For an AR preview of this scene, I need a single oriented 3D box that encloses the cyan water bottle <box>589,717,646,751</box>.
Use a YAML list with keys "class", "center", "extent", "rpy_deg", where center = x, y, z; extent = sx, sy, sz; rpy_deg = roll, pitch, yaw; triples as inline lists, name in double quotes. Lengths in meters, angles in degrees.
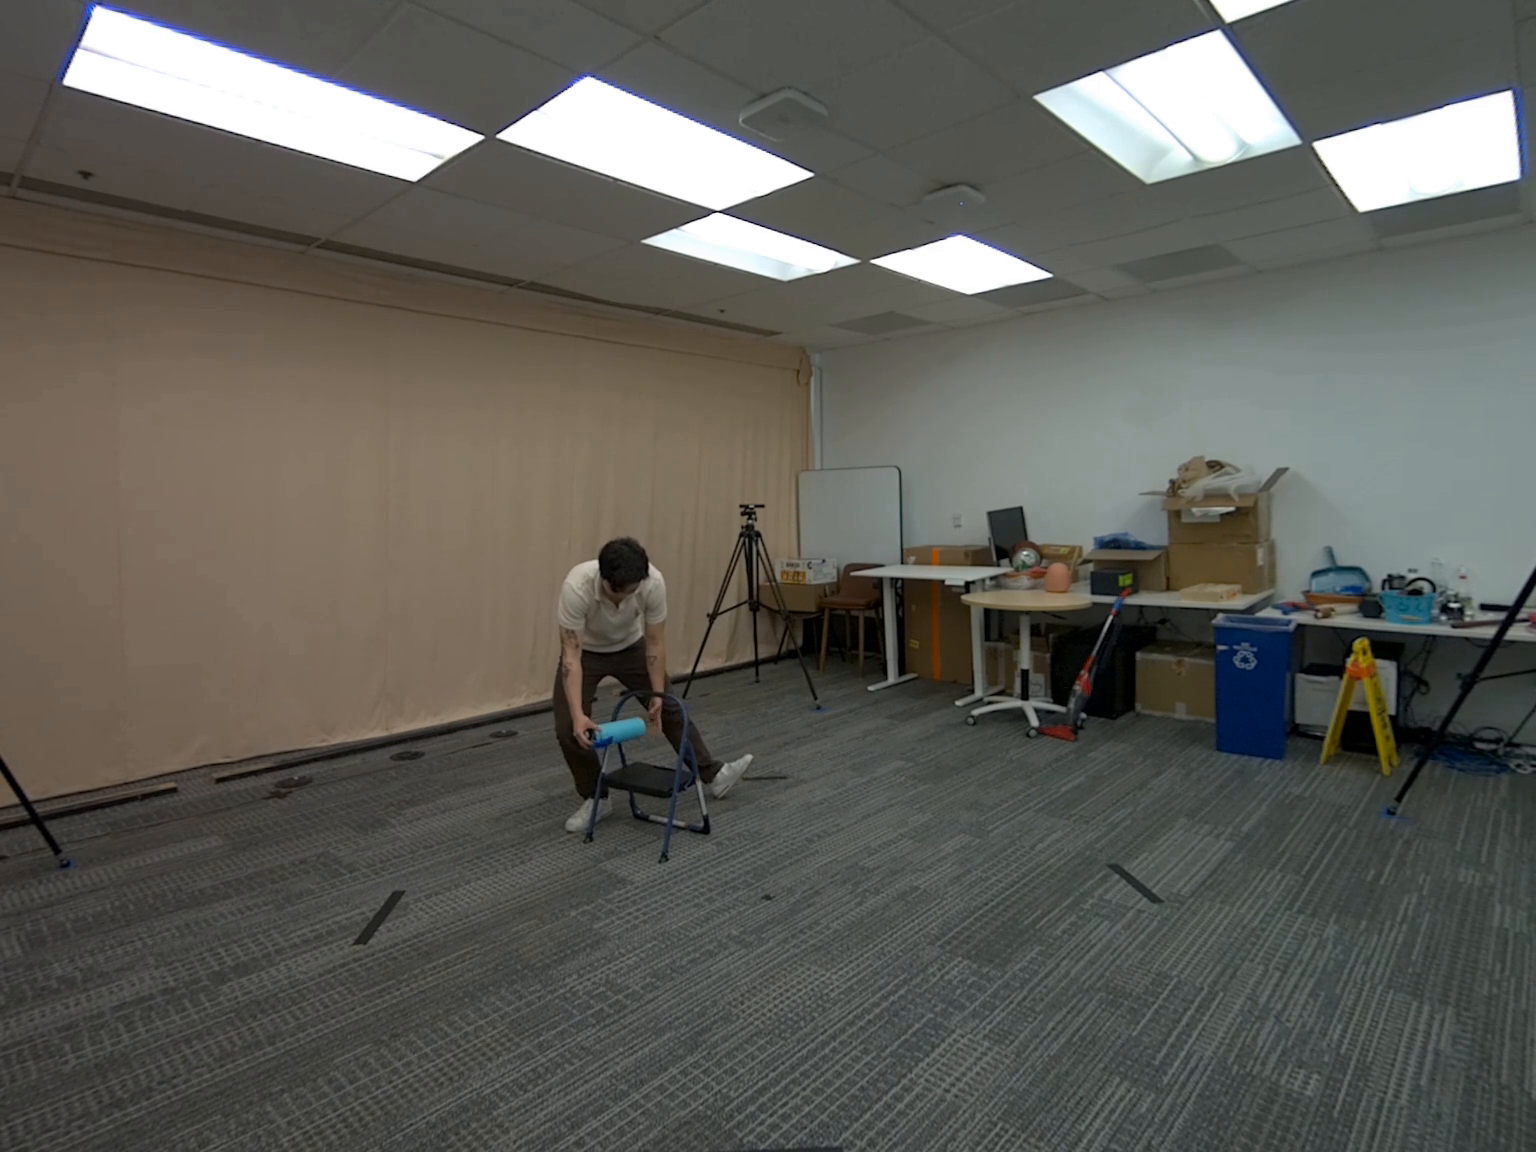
- class: "cyan water bottle"
  center: [-0.654, 0.649, 3.489]
  extent: [0.095, 0.092, 0.275]
  rpy_deg: [2, 5, 40]
